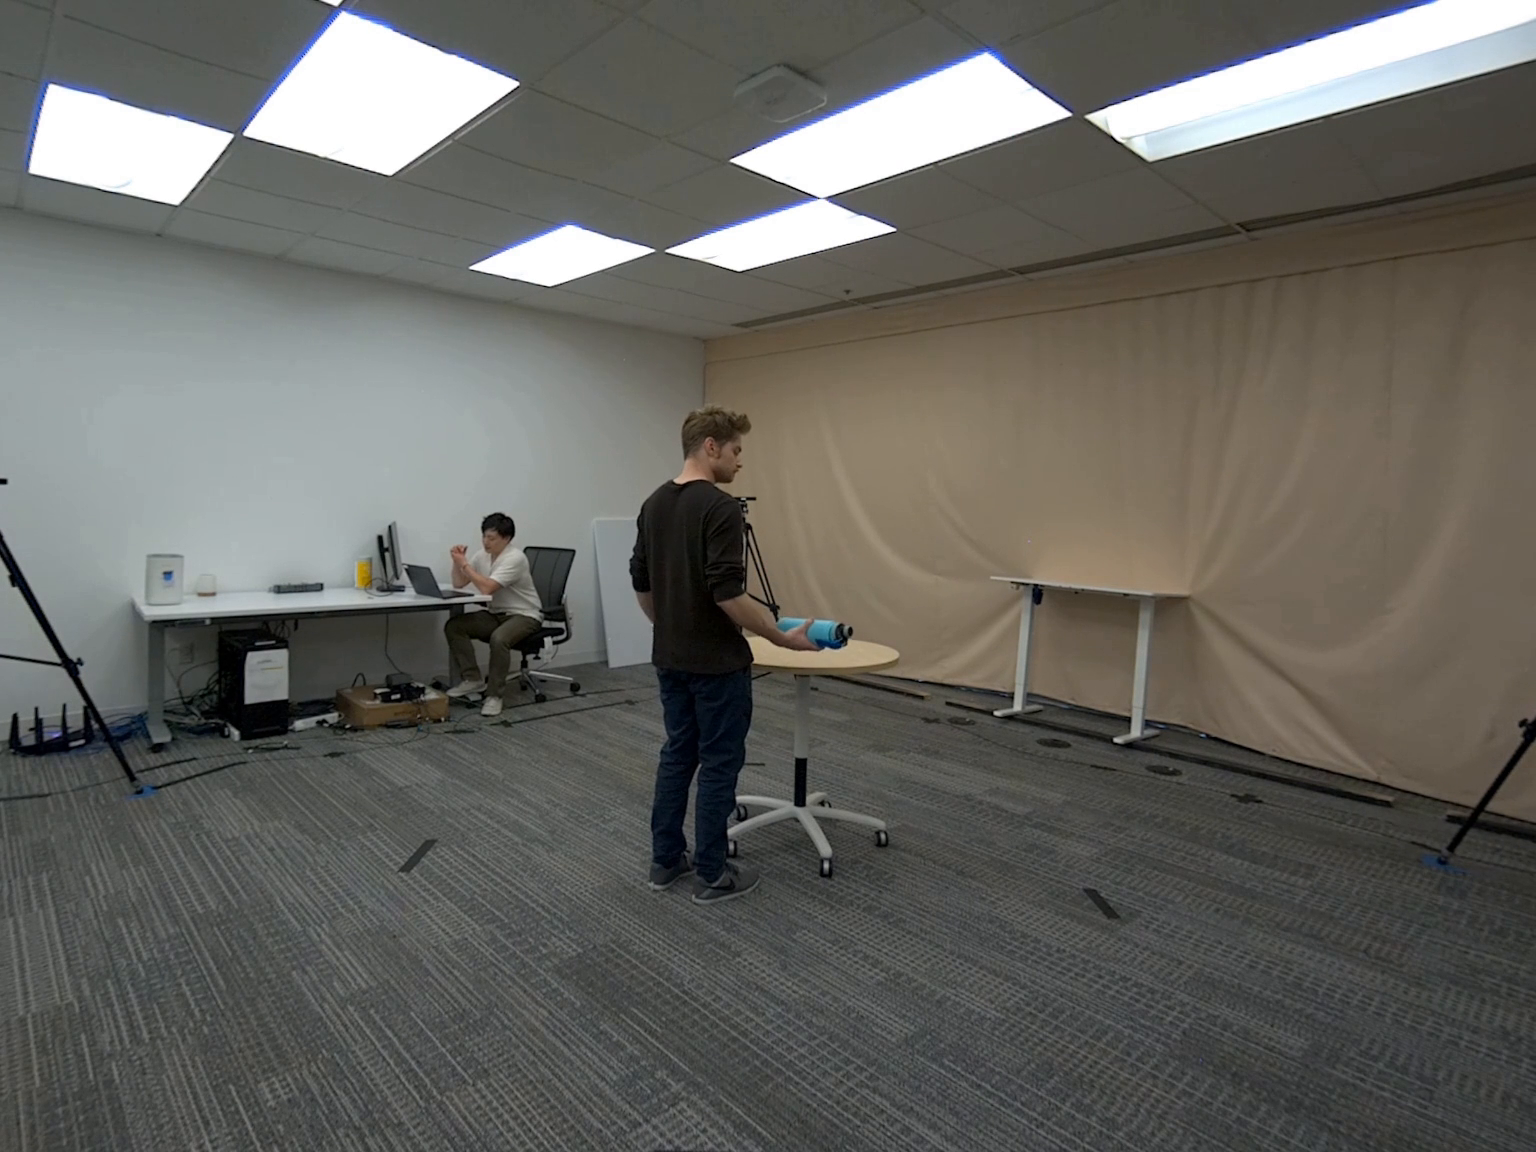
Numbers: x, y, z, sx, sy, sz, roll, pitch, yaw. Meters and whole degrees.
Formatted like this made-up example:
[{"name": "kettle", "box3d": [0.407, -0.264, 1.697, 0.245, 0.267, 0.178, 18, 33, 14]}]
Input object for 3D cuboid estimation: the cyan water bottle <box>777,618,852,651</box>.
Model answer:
[{"name": "cyan water bottle", "box3d": [0.148, 0.183, 2.876, 0.290, 0.092, 0.090, 2, 4, 41]}]
